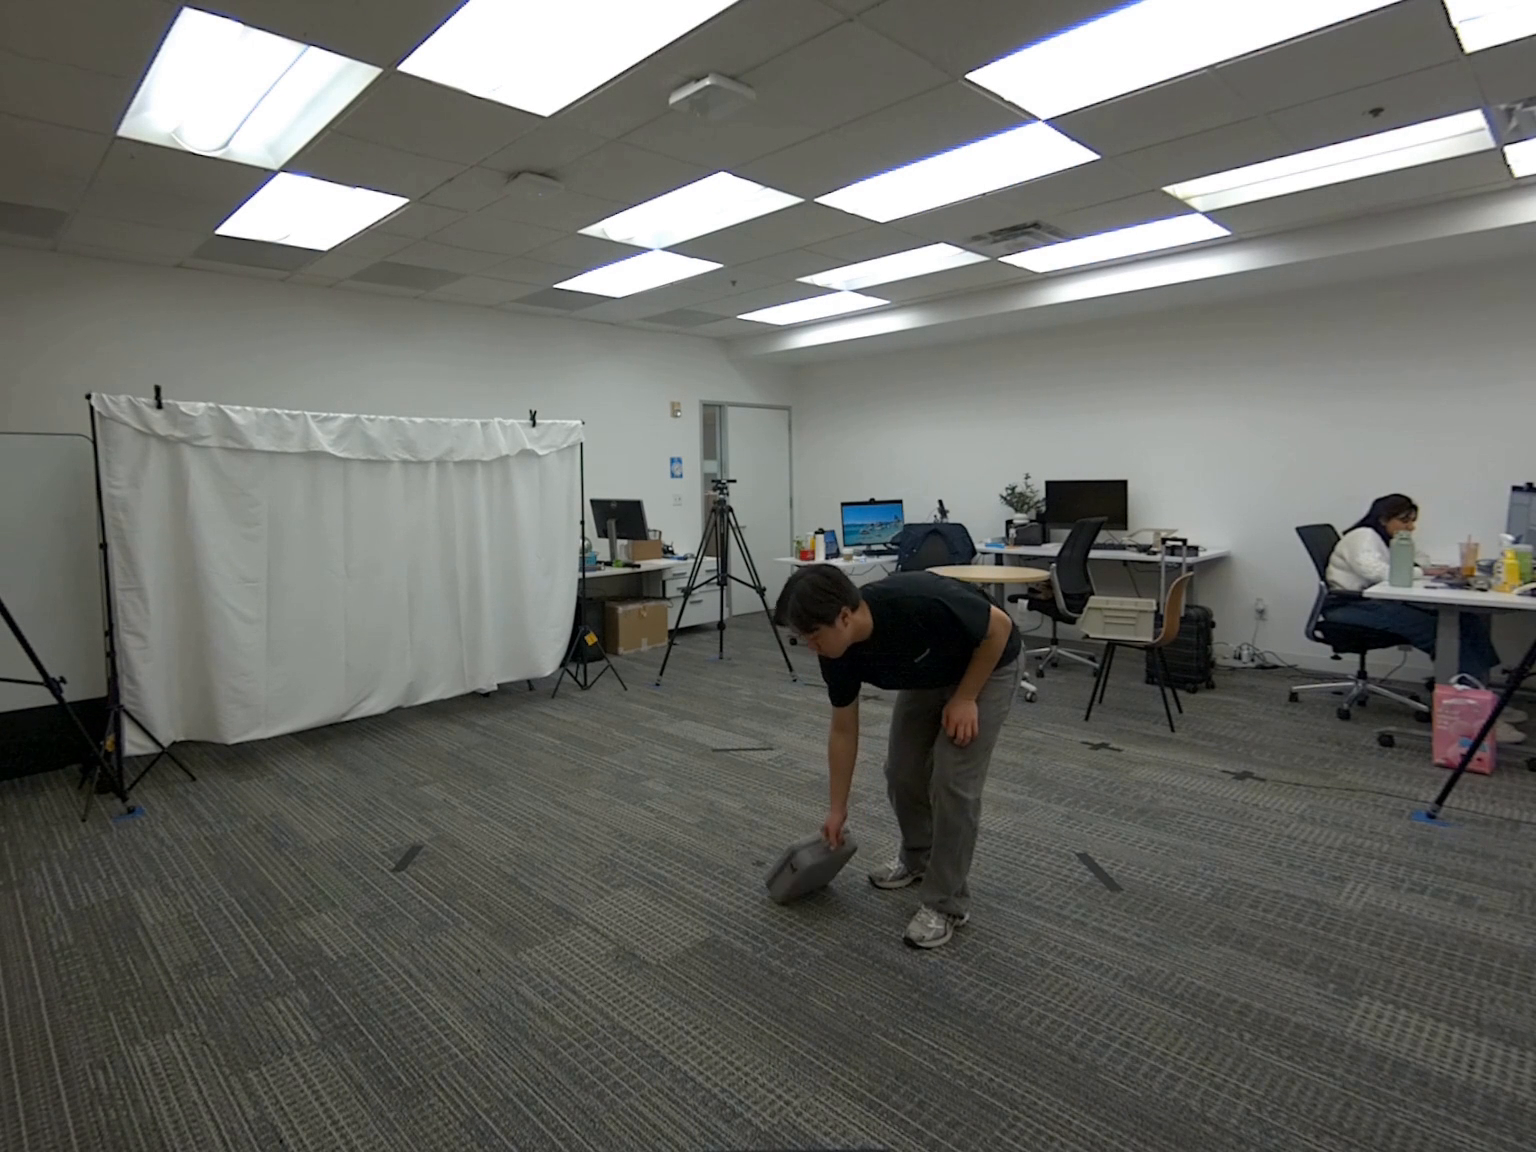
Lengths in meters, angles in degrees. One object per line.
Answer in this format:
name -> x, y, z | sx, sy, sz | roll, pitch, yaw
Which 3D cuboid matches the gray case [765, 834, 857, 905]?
gray case -> 0.160, 0.940, 2.820 | 0.257, 0.284, 0.107 | -7, 48, -38
